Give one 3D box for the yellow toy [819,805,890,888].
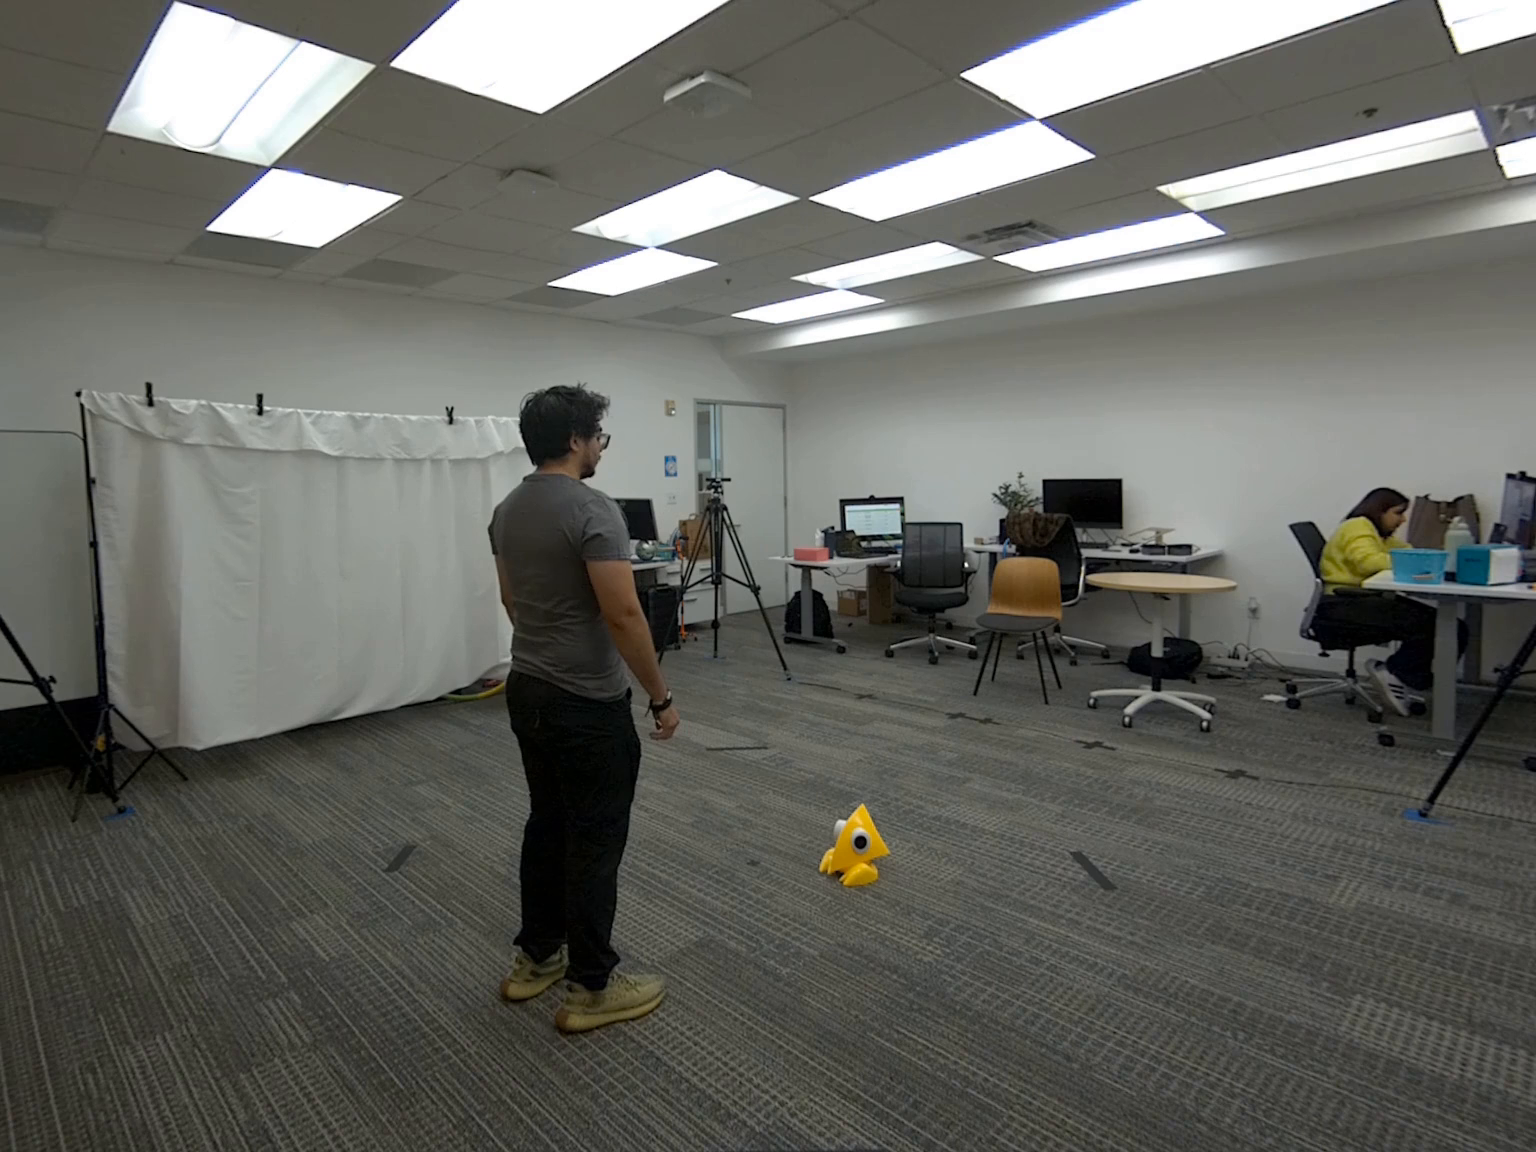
[{"bbox_3d":[0.297,0.935,3.018,0.188,0.230,0.211,-5,6,-35],"label":"yellow toy"}]
